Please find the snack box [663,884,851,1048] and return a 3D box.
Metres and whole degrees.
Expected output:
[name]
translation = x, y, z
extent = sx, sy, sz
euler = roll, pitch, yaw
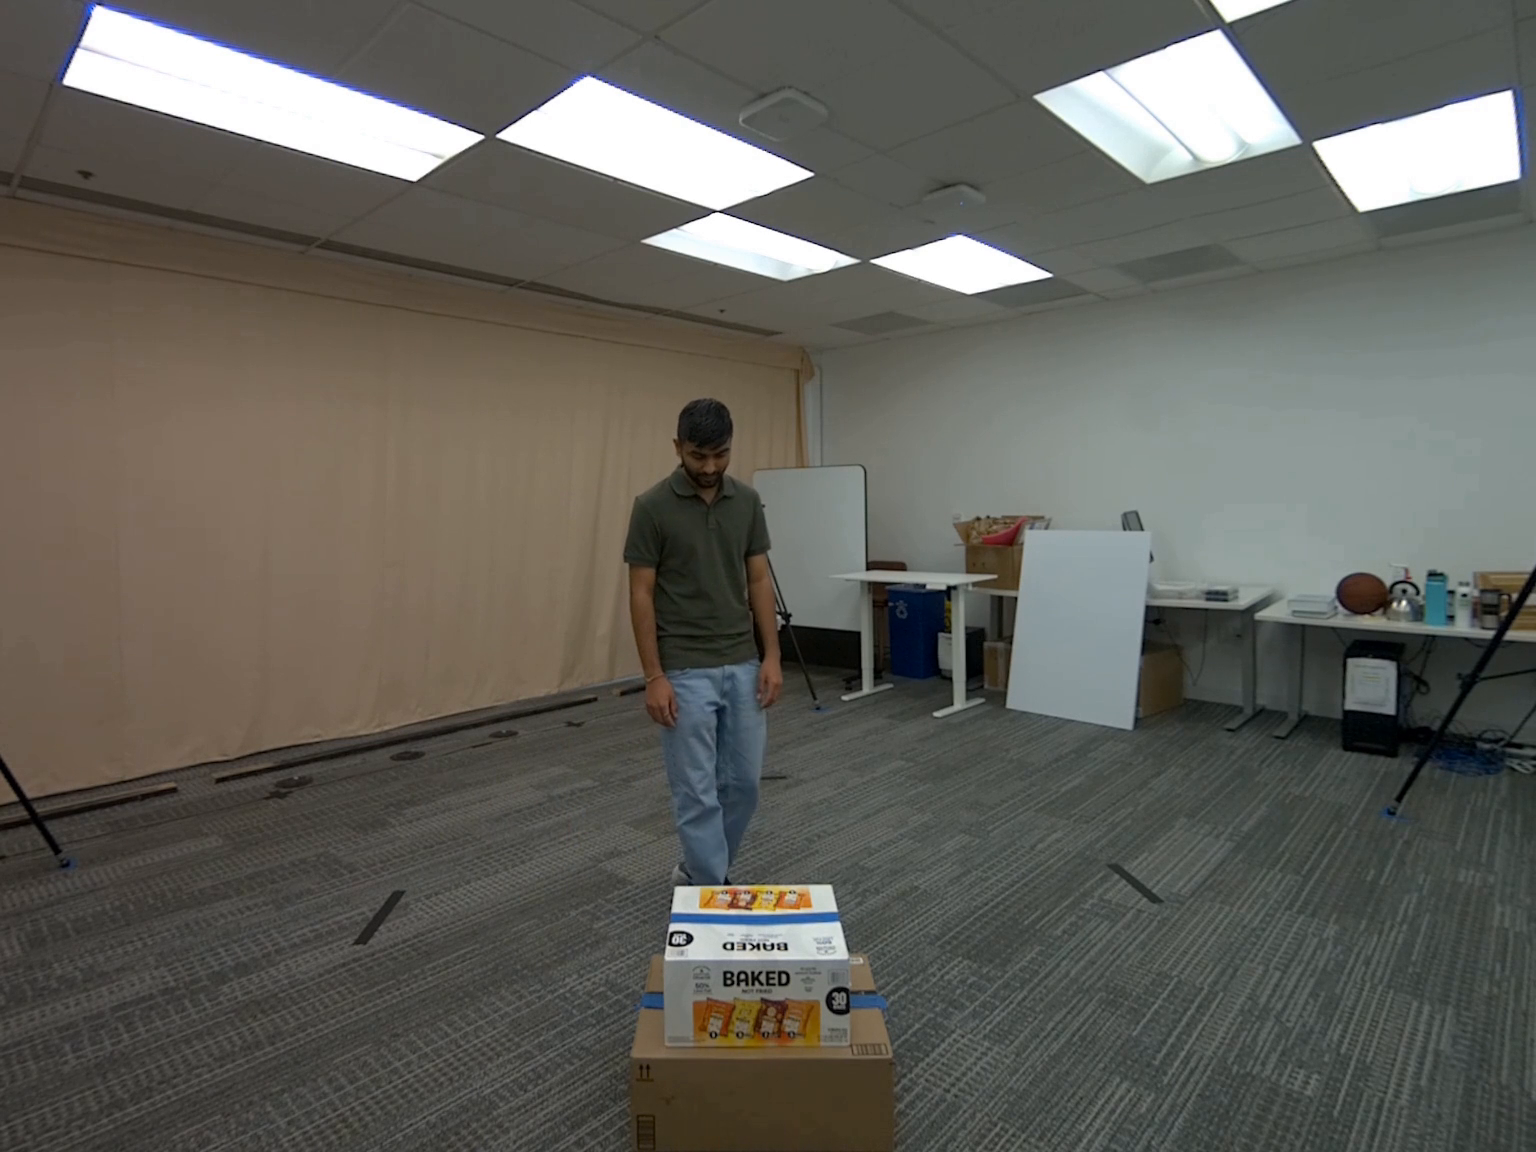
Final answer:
[snack box]
translation = -0.019, 0.909, 1.983
extent = 0.405, 0.205, 0.341
euler = -1, 5, 0
